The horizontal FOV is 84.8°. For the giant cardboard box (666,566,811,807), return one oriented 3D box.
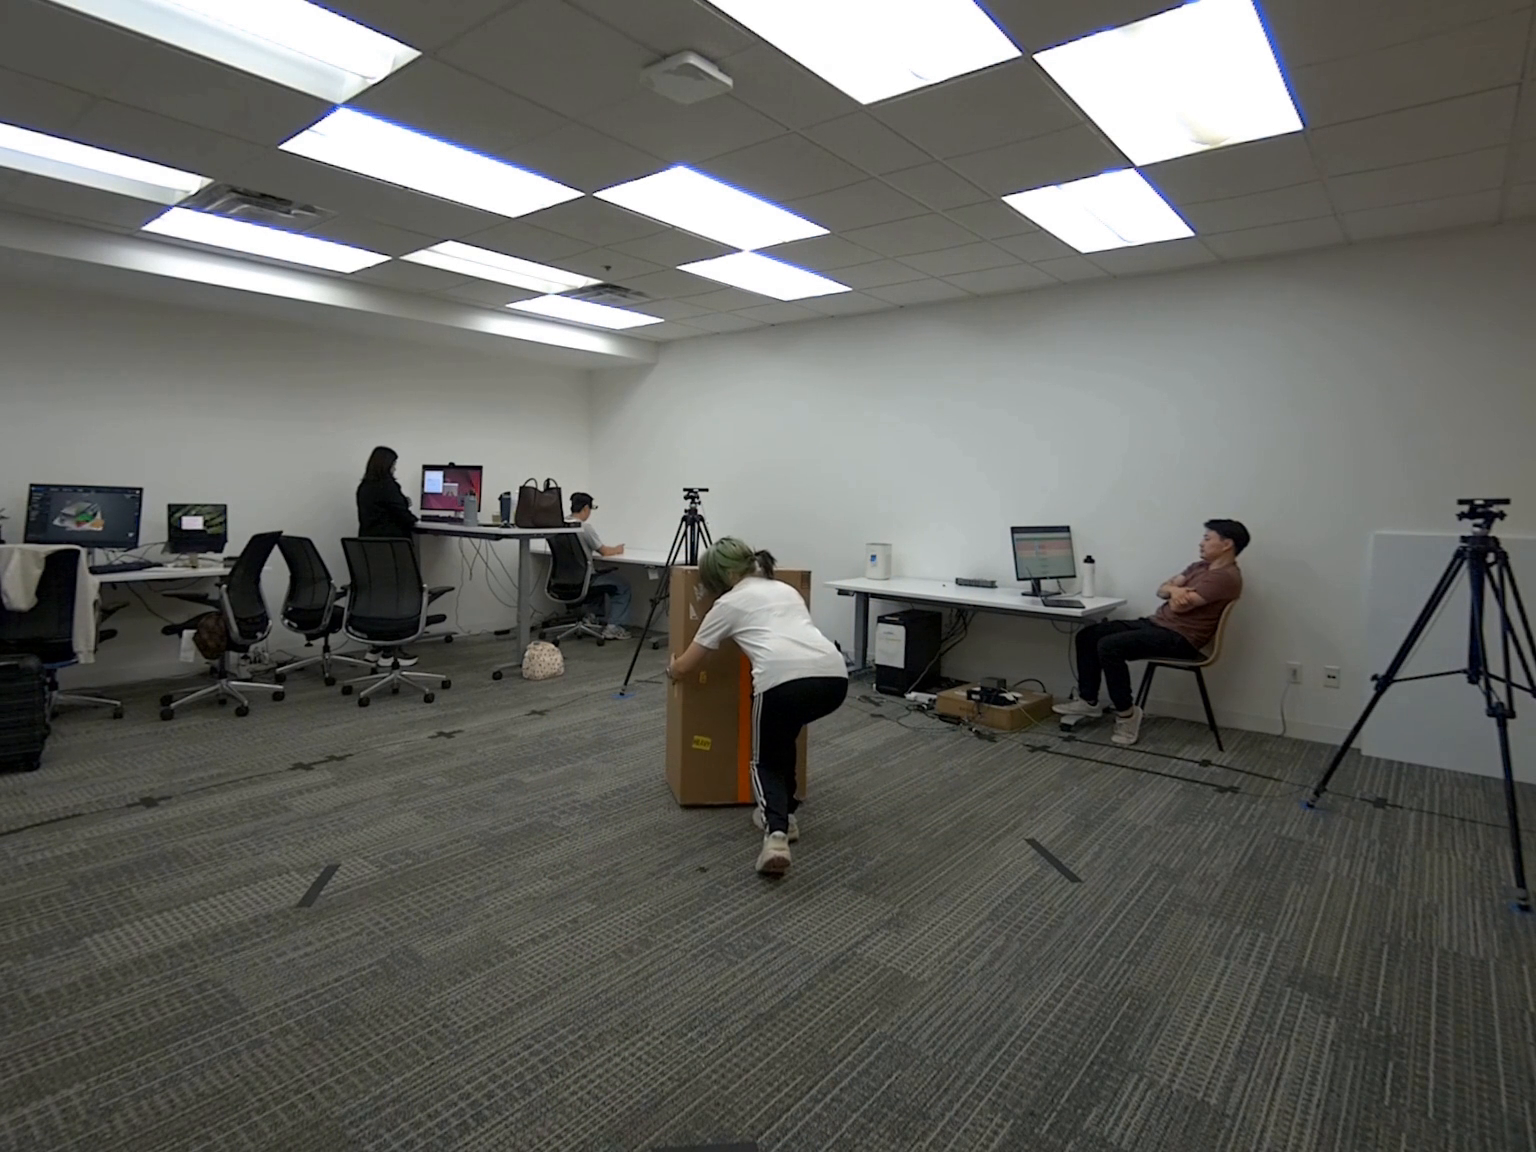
[{"bbox_3d":[-0.159,0.475,3.939,0.576,1.028,0.453,1,-1,-14],"label":"giant cardboard box"}]
